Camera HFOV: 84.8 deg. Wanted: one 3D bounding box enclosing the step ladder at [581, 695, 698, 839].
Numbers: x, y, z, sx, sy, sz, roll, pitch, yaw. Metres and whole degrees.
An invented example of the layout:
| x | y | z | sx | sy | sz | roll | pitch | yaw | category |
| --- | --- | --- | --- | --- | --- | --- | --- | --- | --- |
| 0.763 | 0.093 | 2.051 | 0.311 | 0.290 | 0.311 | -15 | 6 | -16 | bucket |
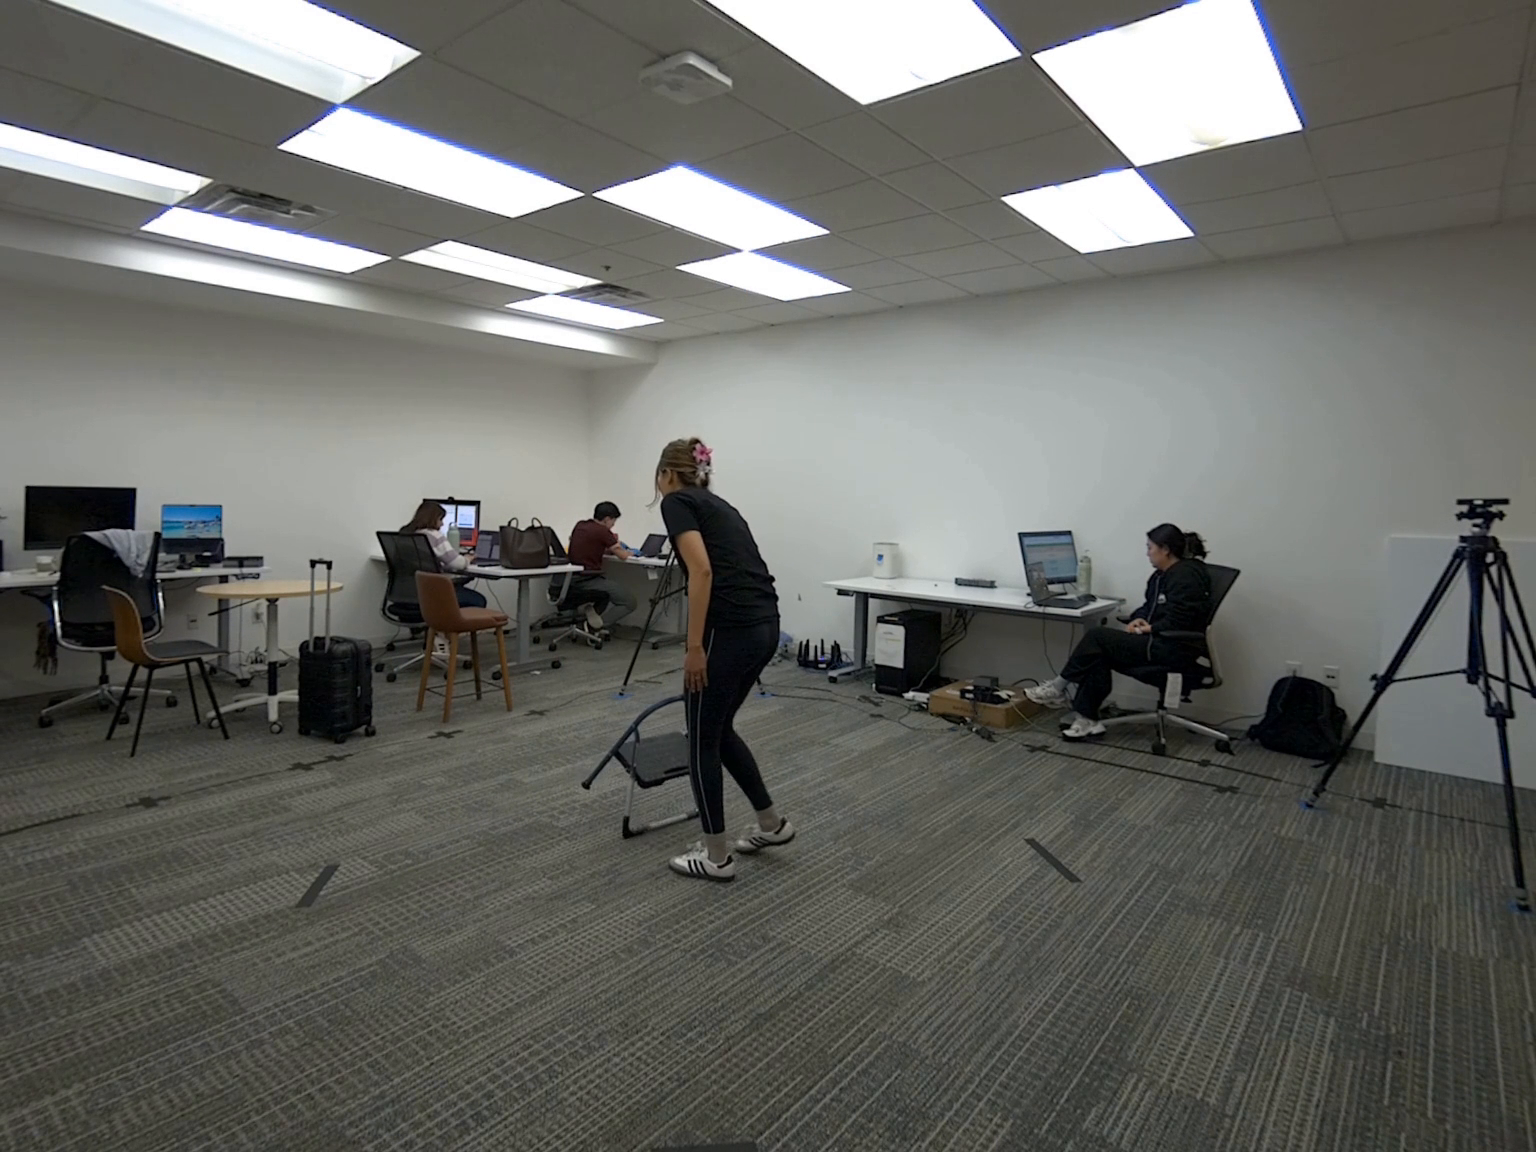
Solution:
| x | y | z | sx | sy | sz | roll | pitch | yaw | category |
| --- | --- | --- | --- | --- | --- | --- | --- | --- | --- |
| -0.452 | 0.688 | 3.504 | 0.417 | 0.599 | 0.364 | -2 | 30 | -44 | step ladder |
